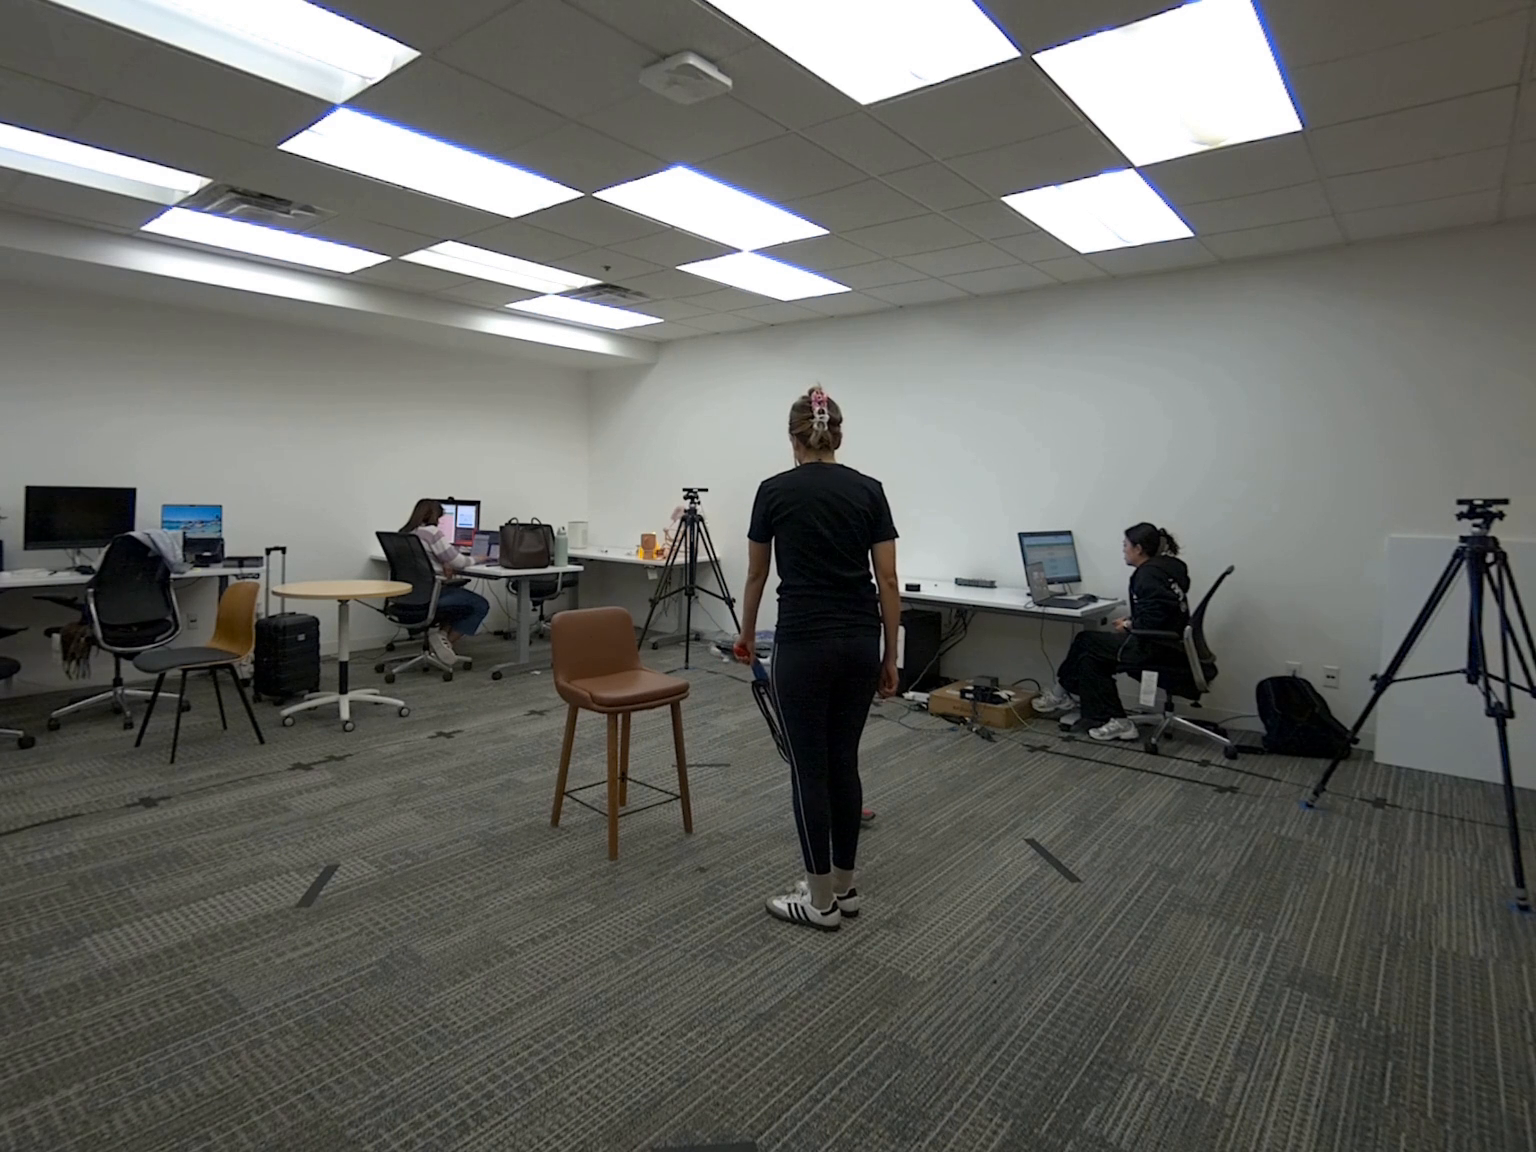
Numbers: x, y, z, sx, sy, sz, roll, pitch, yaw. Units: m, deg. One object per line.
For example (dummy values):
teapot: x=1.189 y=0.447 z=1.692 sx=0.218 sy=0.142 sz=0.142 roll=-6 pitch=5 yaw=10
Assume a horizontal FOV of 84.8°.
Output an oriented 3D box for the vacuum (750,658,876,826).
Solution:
vacuum: x=0.081 y=0.646 z=3.309 sx=0.261 sy=1.011 sz=0.144 roll=3 pitch=46 yaw=42
